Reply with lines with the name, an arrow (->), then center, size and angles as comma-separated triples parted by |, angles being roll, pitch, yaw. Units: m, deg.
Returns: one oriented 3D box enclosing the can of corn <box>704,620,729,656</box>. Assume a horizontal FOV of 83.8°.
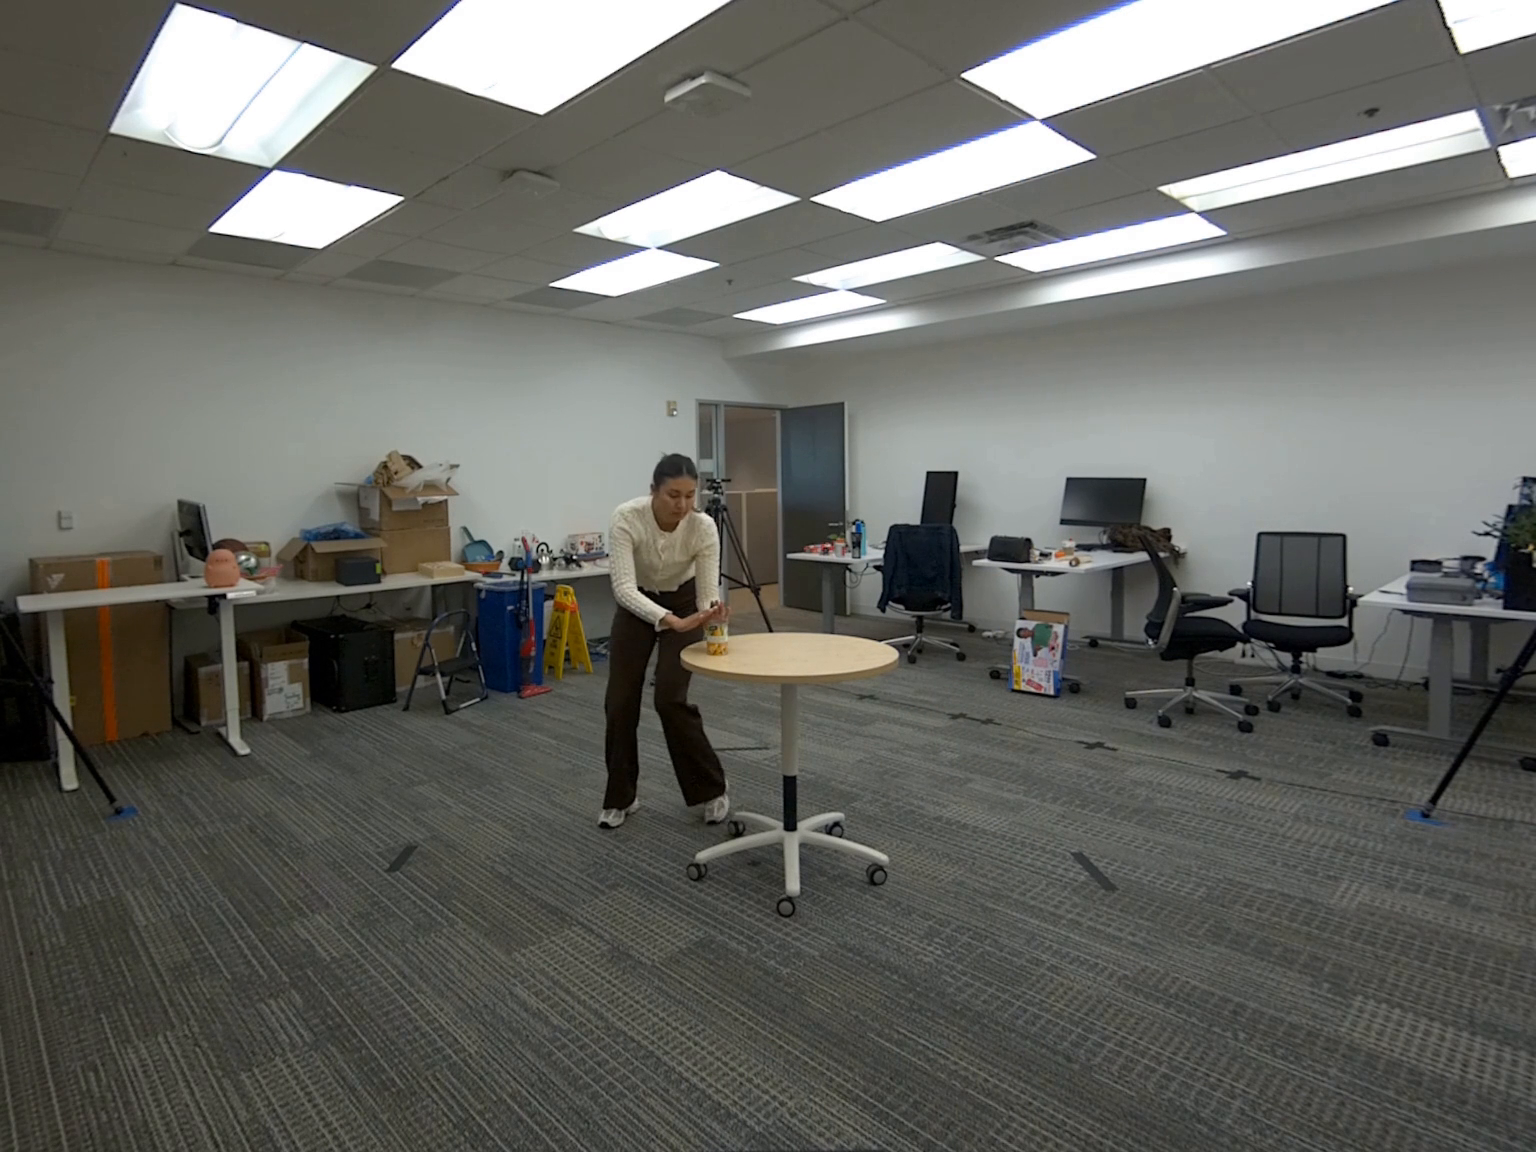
can of corn -> -0.176, 0.216, 3.008 | 0.074, 0.111, 0.074 | -3, 1, -2
